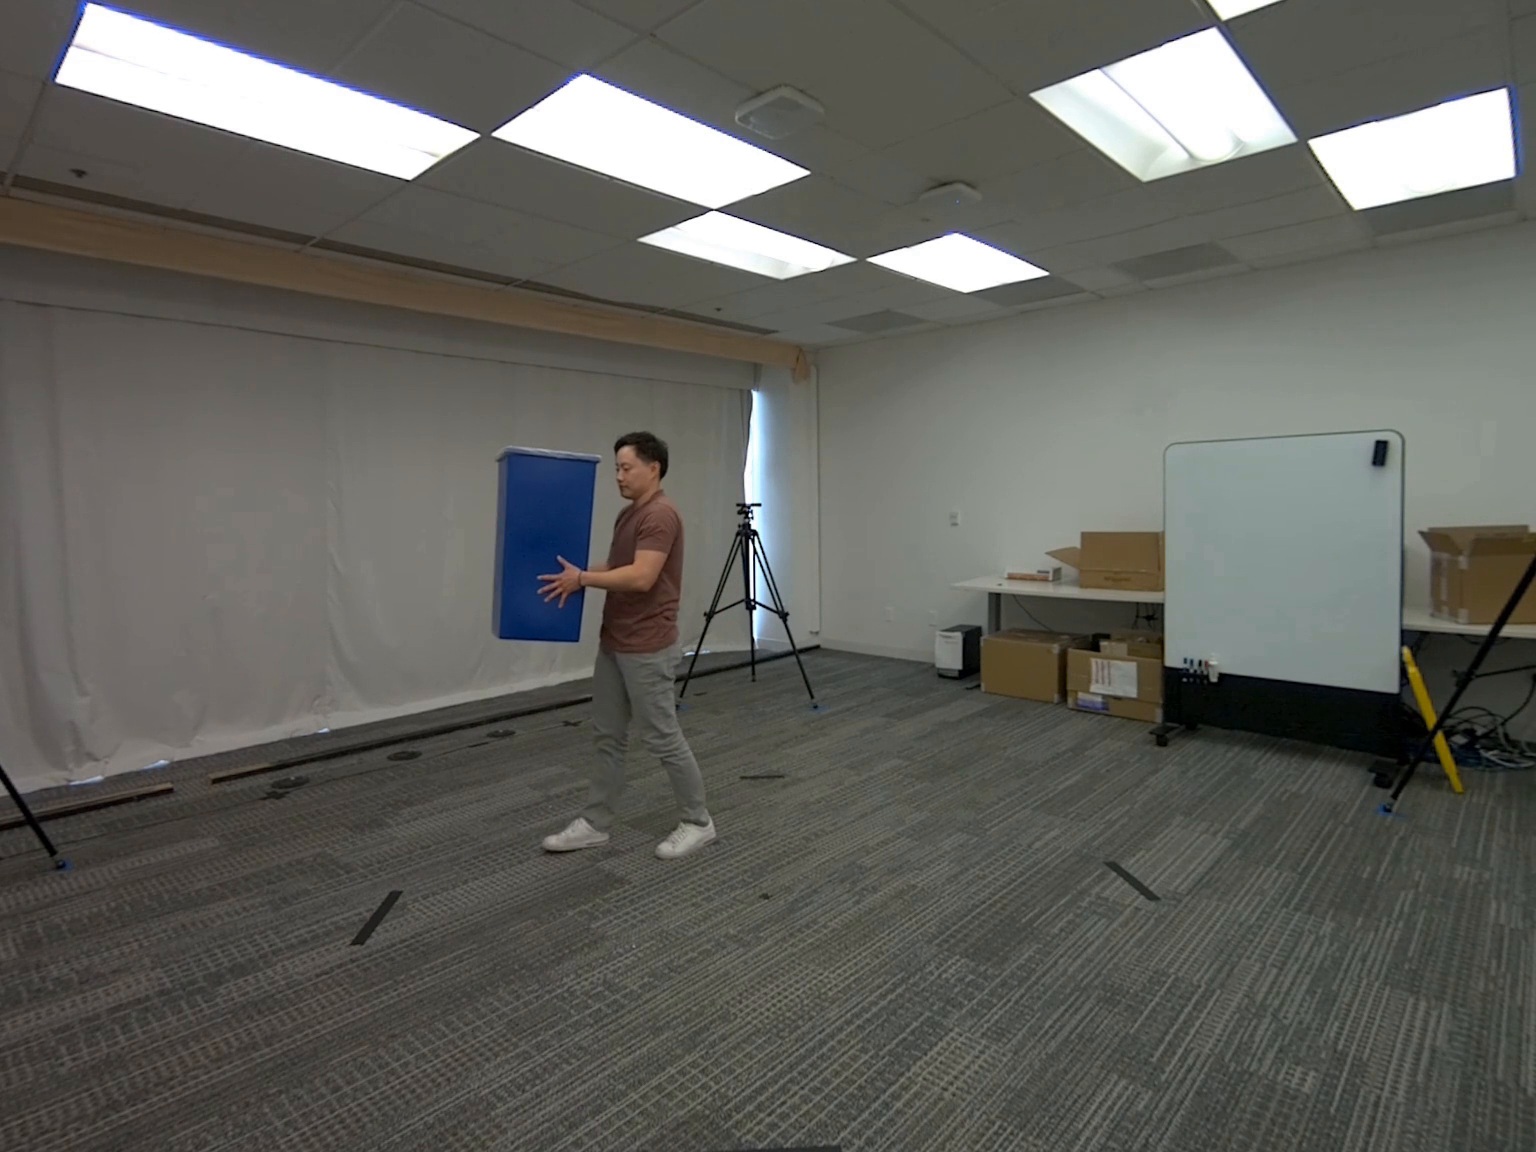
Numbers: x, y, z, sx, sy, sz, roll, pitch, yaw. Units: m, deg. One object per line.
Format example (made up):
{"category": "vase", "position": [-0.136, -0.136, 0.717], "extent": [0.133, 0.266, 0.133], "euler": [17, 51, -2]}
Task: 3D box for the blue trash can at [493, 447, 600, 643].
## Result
{"category": "blue trash can", "position": [-0.890, -0.122, 3.292], "extent": [0.366, 0.714, 0.386], "euler": [5, -3, -22]}
